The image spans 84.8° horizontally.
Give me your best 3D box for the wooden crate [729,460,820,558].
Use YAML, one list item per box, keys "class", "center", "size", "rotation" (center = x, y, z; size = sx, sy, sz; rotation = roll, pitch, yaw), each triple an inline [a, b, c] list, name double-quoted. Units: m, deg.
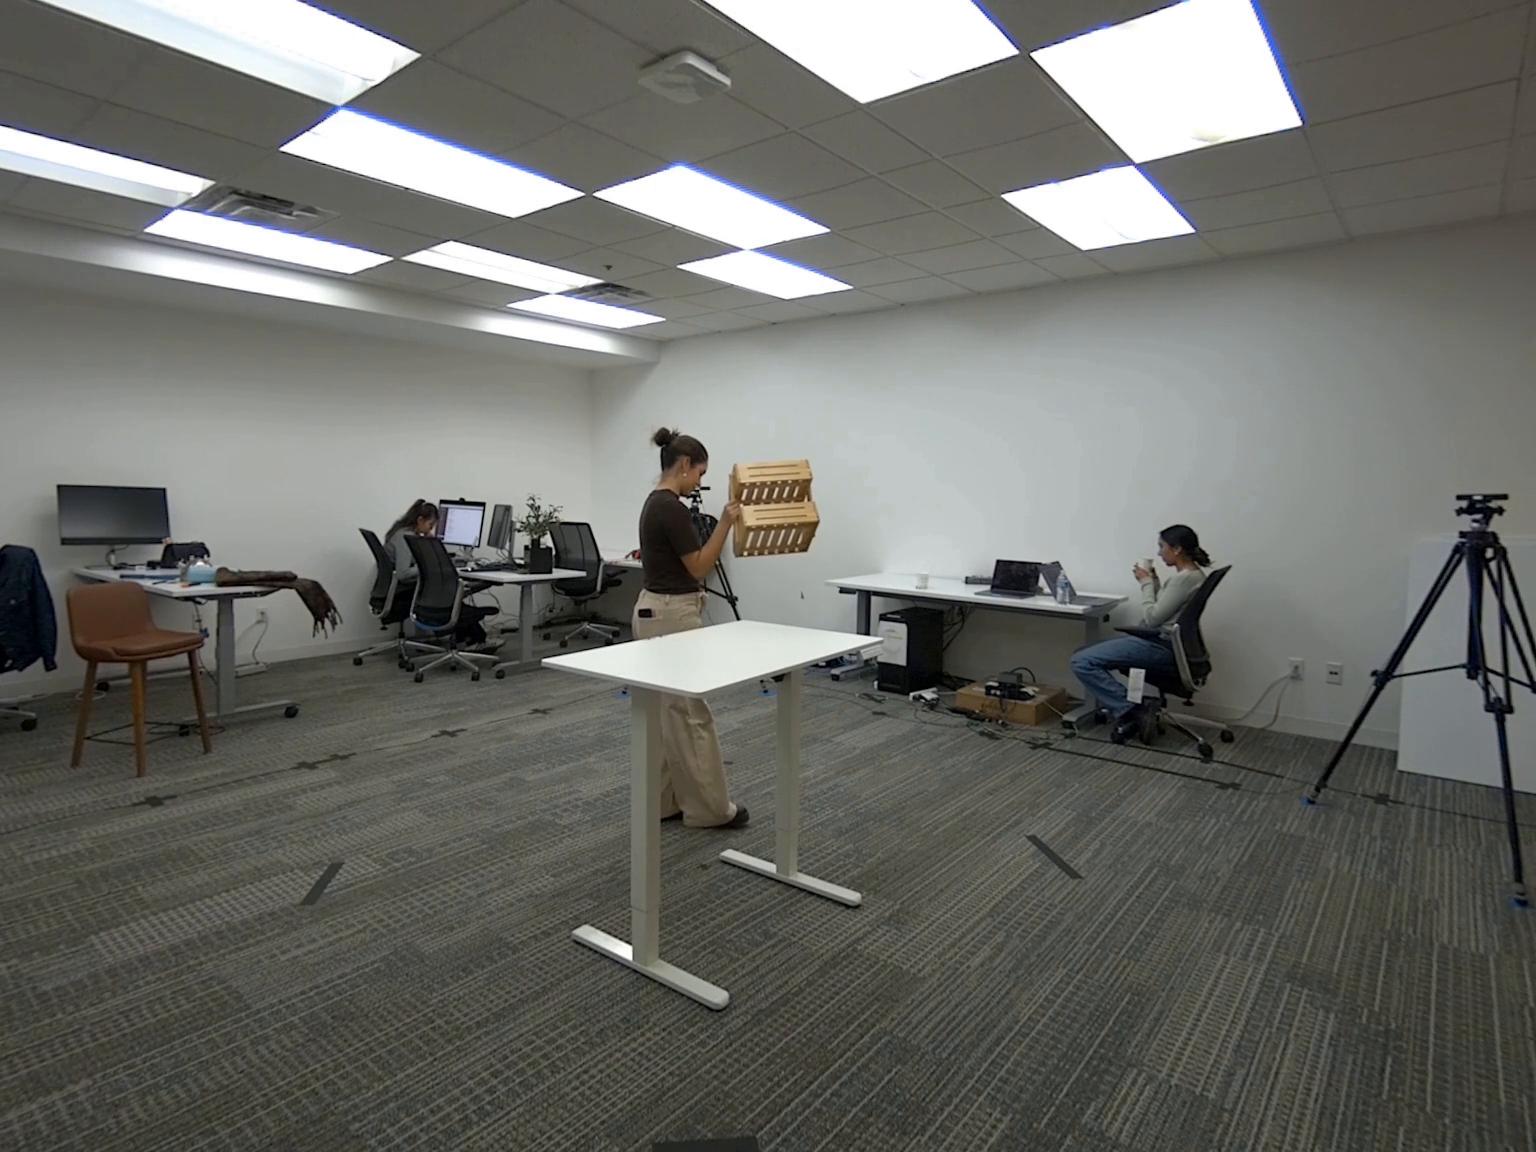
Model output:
- class: "wooden crate"
  center: [0.002, -0.266, 3.406]
  size: [0.320, 0.282, 0.297]
  rotation: [-4, -31, -14]
